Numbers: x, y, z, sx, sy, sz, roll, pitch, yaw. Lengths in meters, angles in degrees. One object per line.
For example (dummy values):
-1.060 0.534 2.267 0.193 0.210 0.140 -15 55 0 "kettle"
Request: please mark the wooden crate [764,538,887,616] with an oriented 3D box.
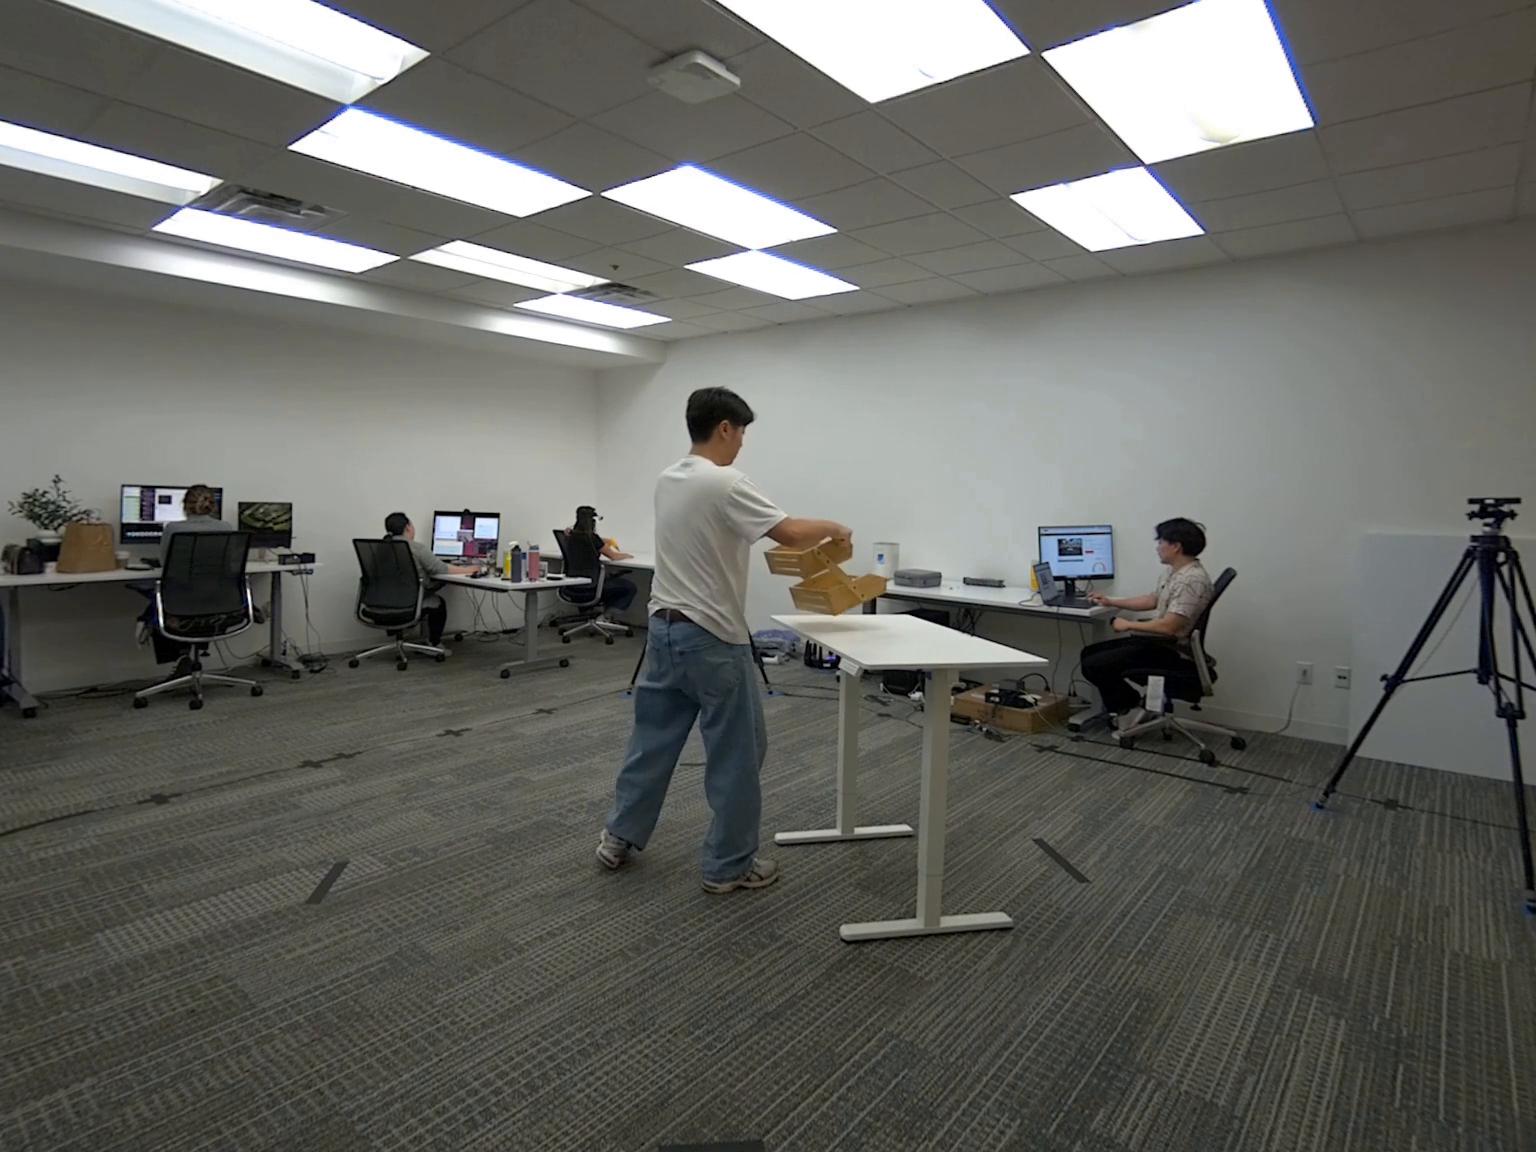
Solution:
0.193 -0.033 3.188 0.298 0.270 0.332 -23 11 -21 "wooden crate"
